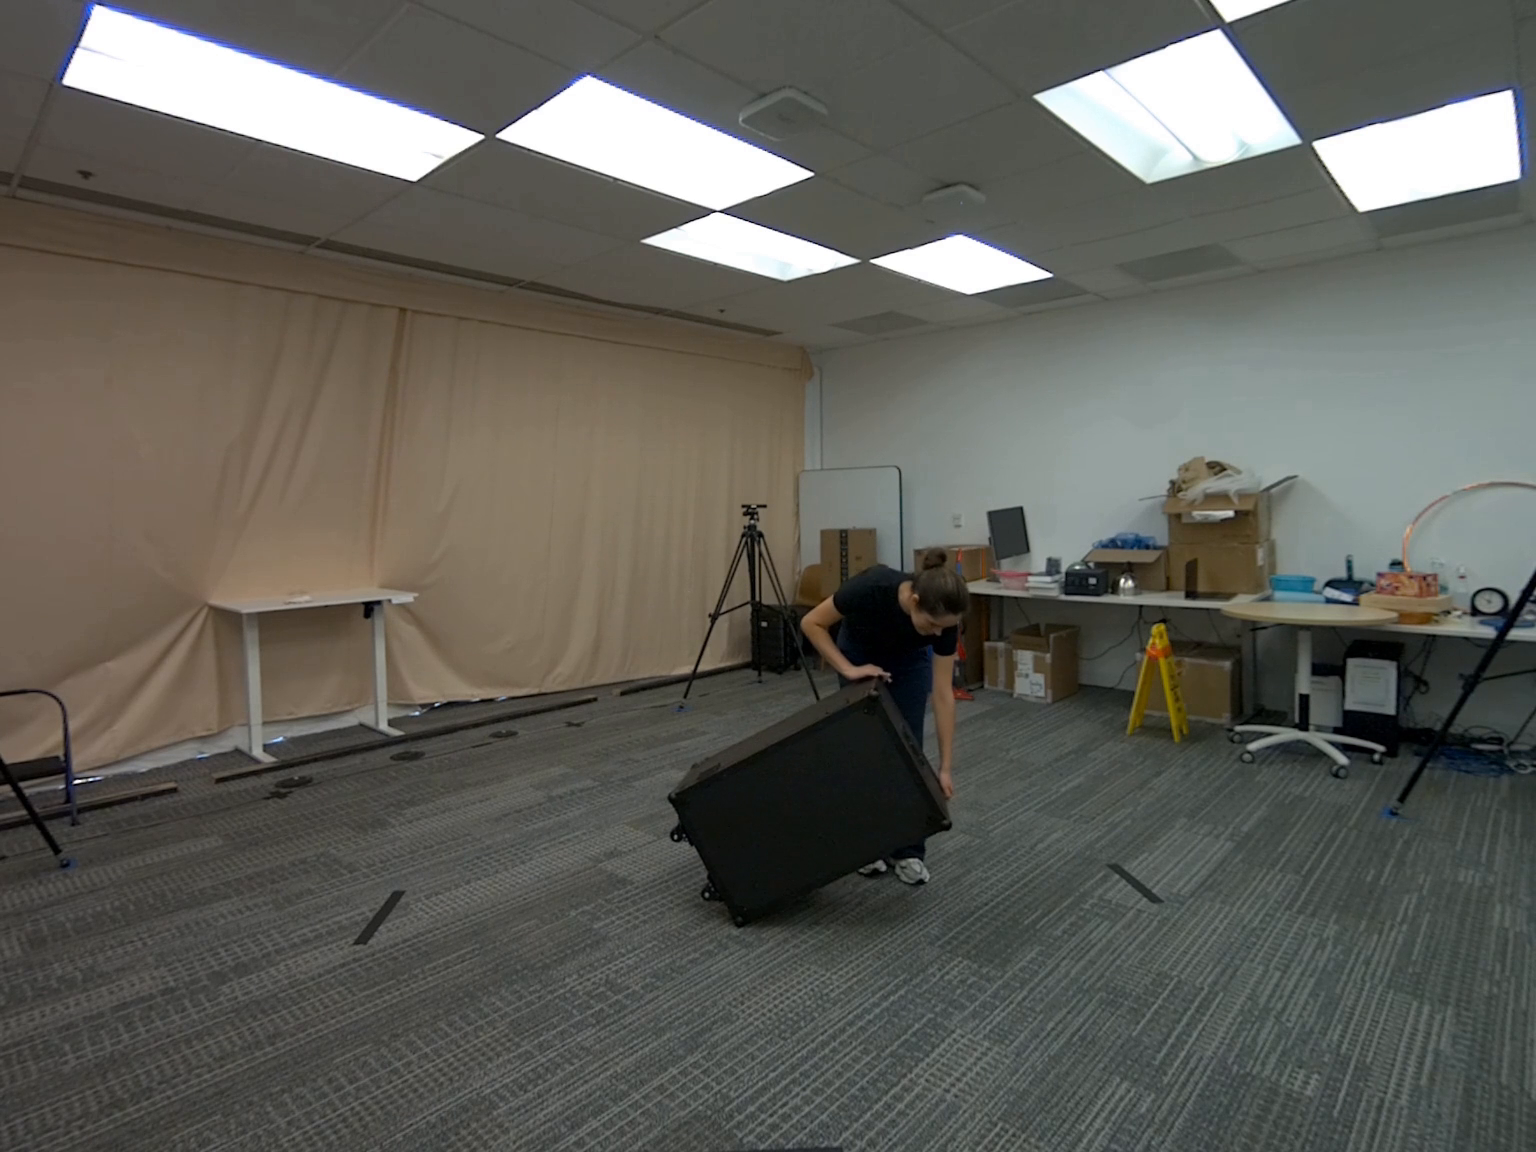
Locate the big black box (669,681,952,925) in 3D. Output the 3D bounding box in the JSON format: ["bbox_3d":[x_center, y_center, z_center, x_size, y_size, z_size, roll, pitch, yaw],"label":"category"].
[{"bbox_3d":[0.128,0.757,2.900,0.867,0.523,0.392,-29,-3,11],"label":"big black box"}]
